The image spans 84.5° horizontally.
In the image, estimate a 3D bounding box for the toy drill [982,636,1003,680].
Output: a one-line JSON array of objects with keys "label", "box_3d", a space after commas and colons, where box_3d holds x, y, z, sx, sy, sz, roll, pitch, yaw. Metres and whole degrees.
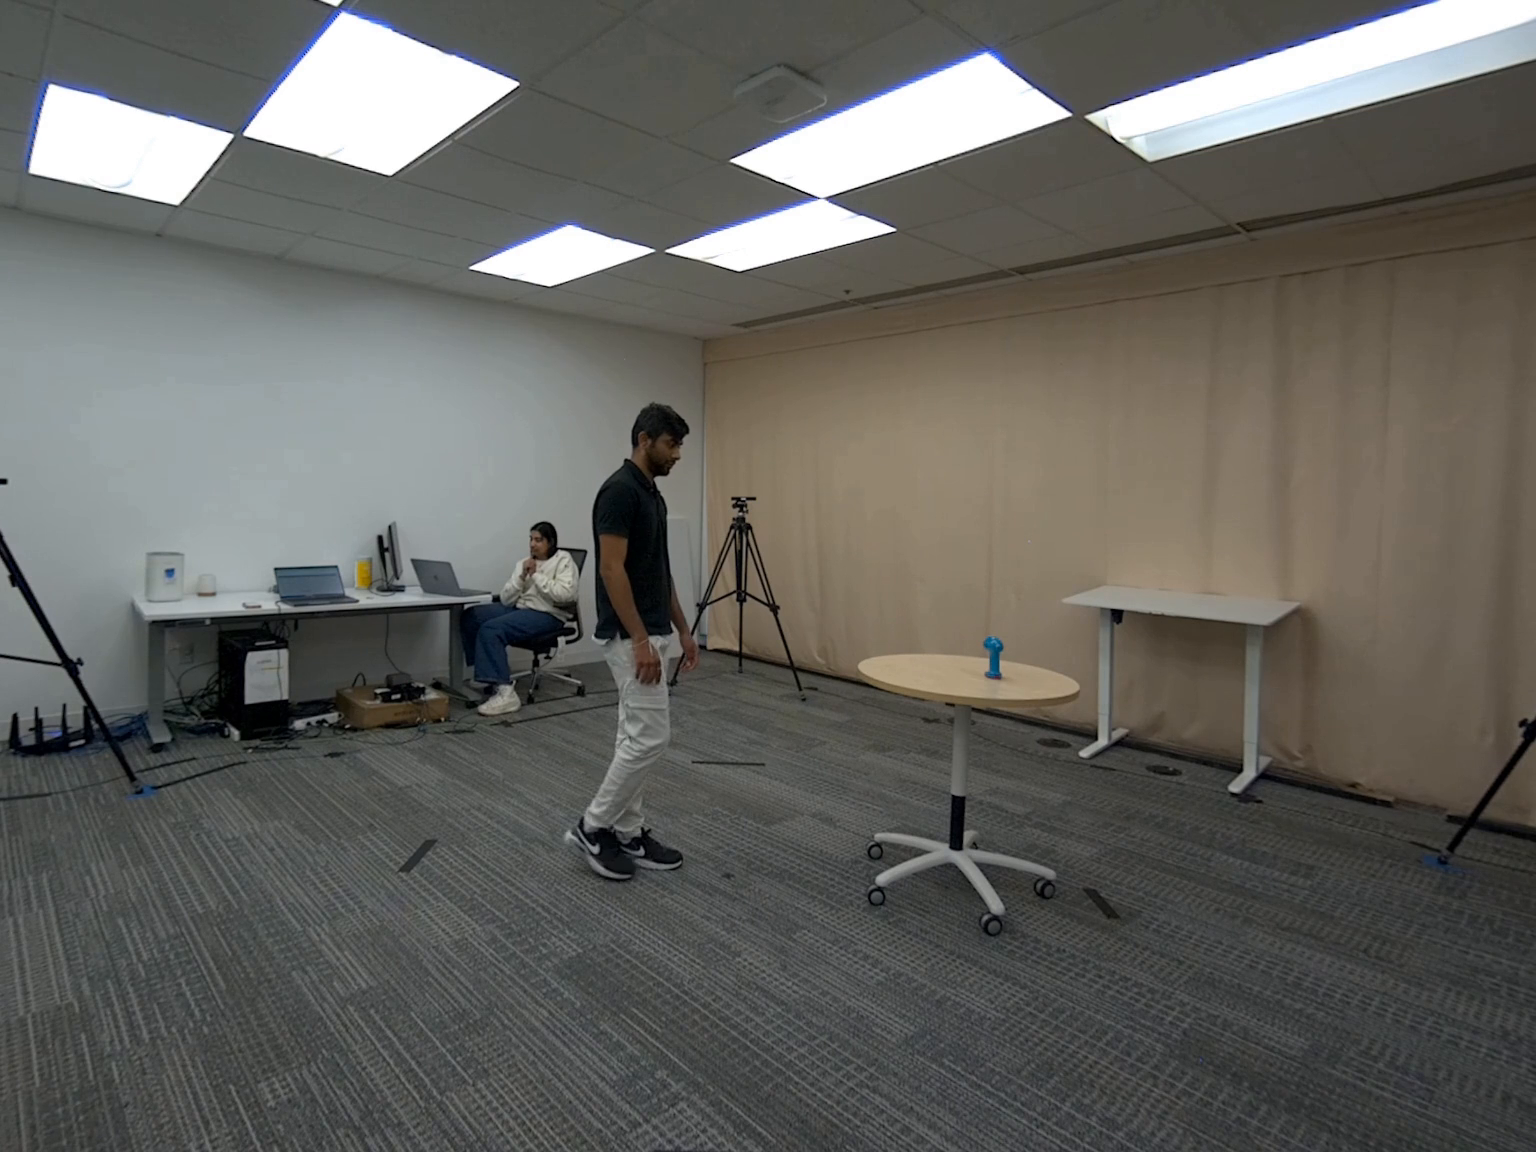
[{"label": "toy drill", "box_3d": [0.792, 0.282, 3.024, 0.061, 0.145, 0.171, 2, 5, -5]}]
